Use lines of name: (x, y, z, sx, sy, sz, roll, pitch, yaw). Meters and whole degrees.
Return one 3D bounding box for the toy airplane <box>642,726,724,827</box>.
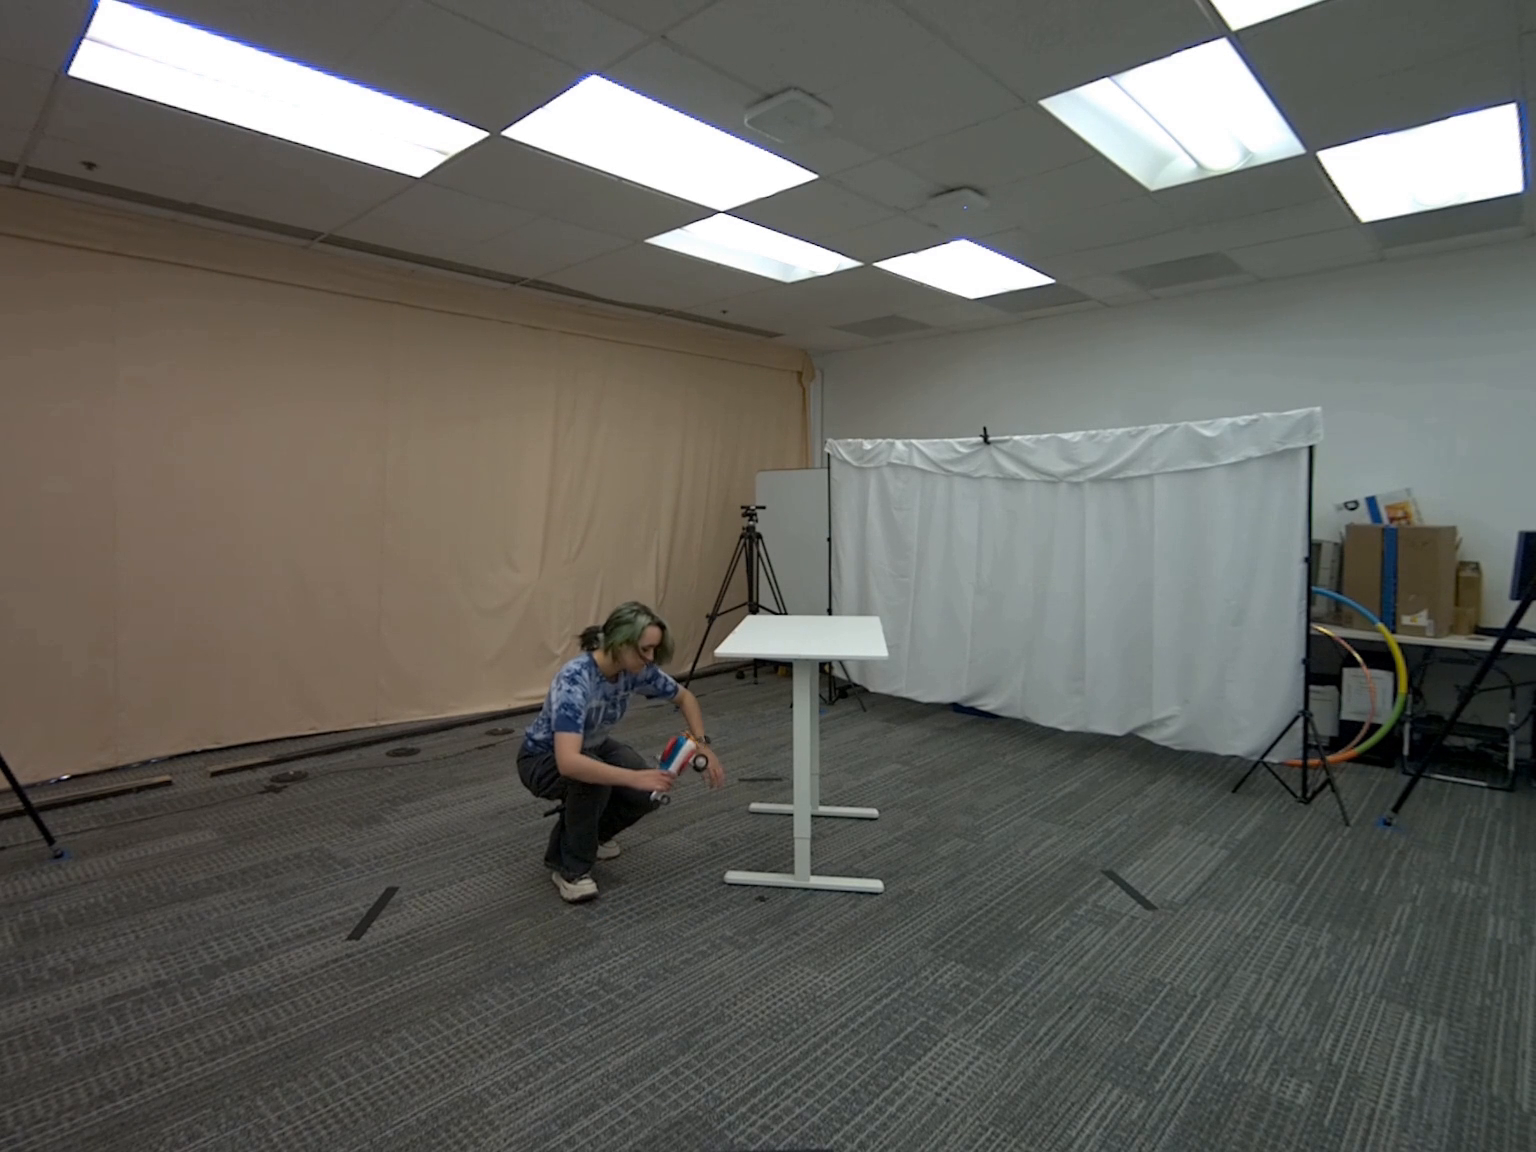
toy airplane: (-0.341, 0.685, 2.964, 0.255, 0.159, 0.252, -34, -15, -46)
